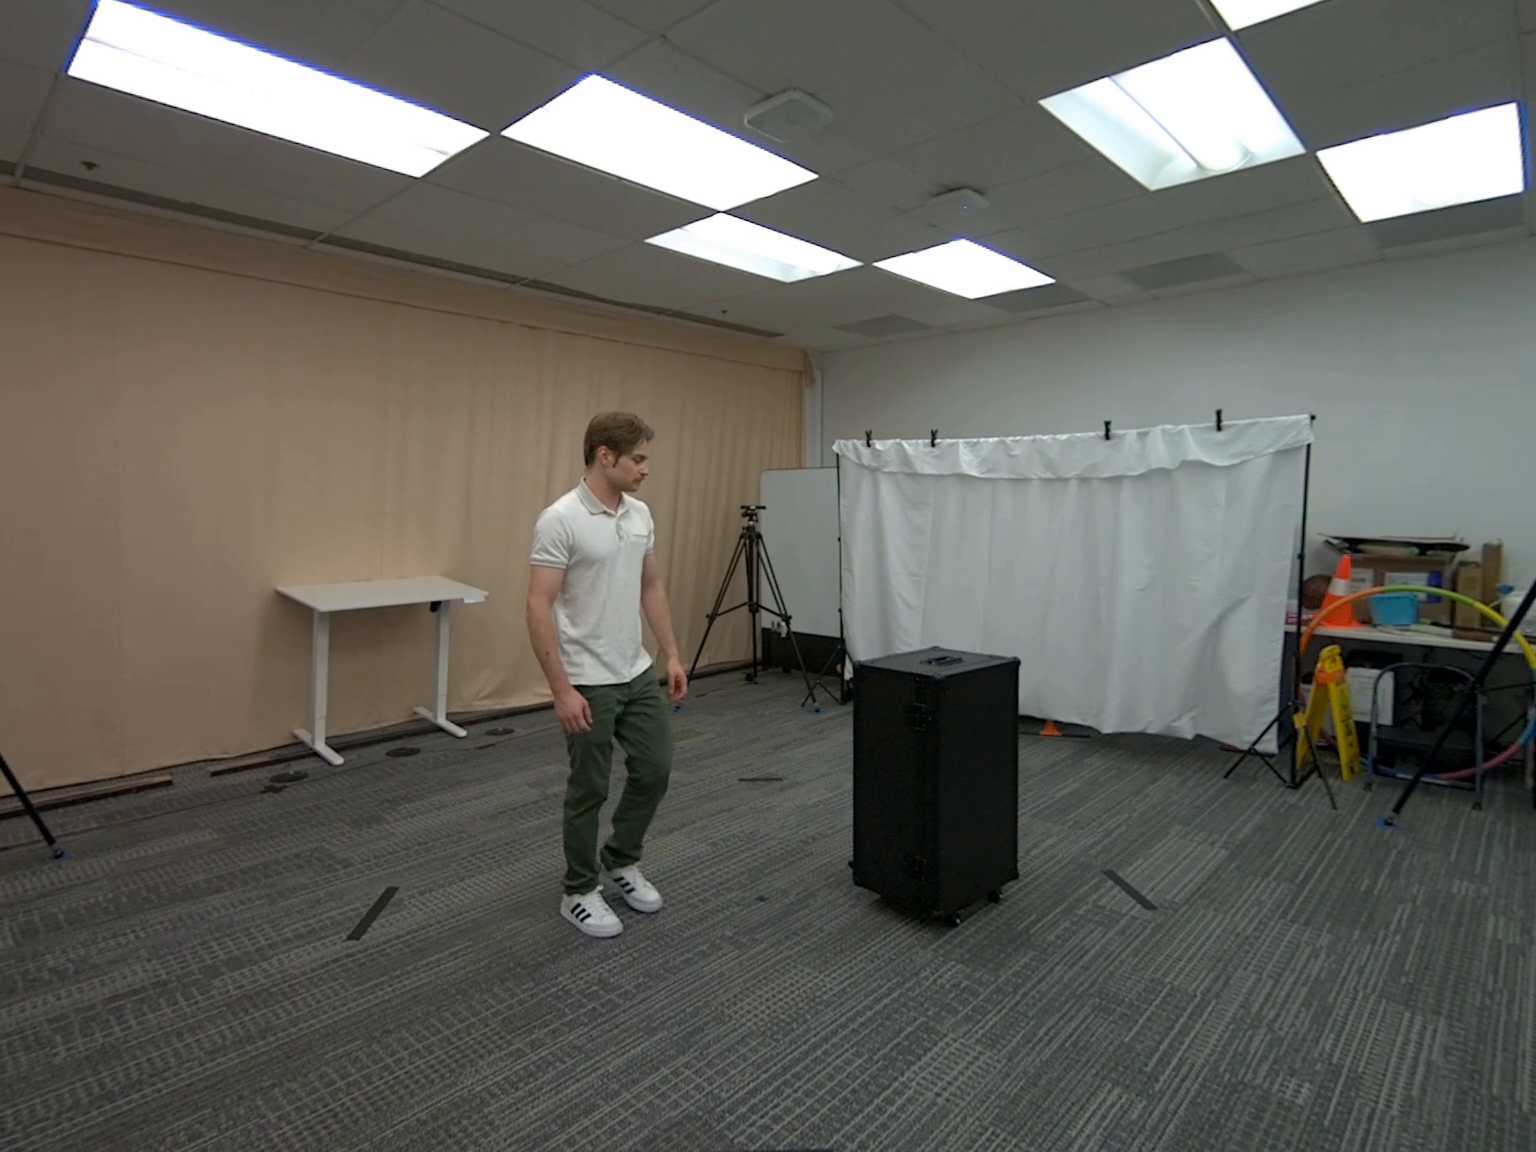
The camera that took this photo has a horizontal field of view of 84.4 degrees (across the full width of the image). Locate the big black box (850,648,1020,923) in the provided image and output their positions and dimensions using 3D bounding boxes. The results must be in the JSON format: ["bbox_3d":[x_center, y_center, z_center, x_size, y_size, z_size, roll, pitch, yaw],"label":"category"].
[{"bbox_3d":[0.586,0.725,2.949,0.505,0.860,0.409,-5,4,-42],"label":"big black box"}]
